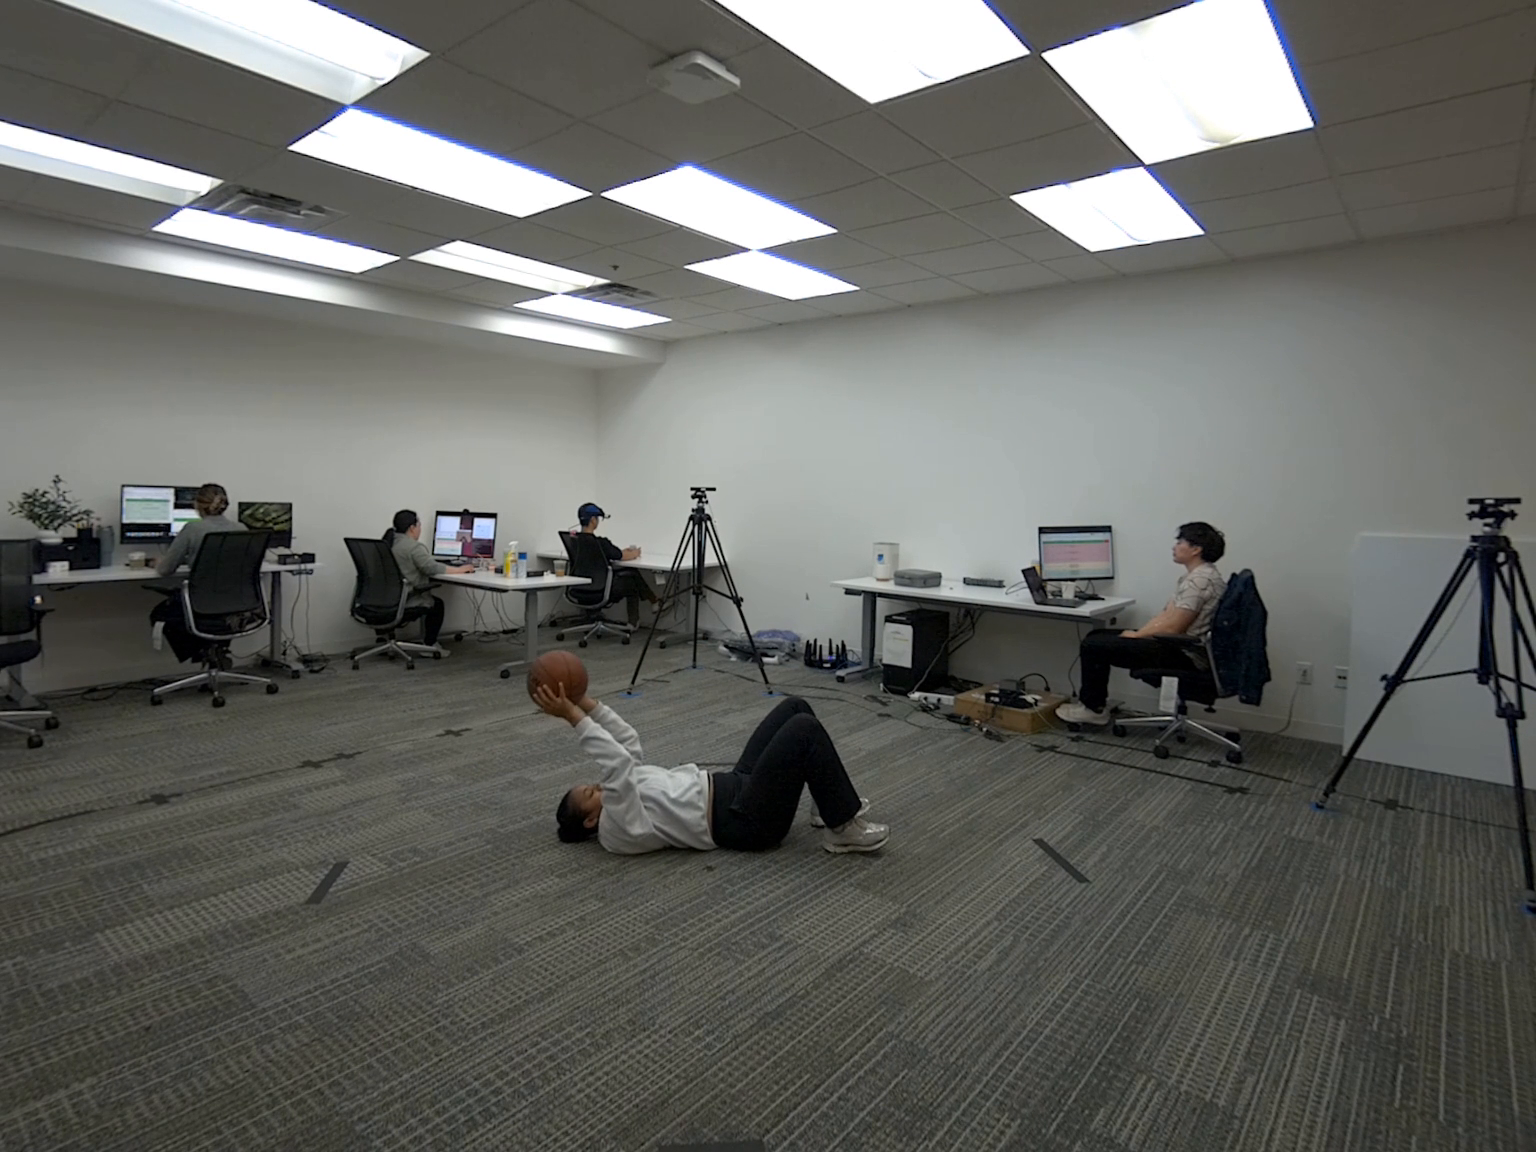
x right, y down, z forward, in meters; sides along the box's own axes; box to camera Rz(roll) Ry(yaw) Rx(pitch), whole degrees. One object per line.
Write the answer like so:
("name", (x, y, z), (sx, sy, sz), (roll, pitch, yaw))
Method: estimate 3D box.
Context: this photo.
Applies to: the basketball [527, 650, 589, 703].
("basketball", (-0.827, 0.418, 3.339), (0.235, 0.235, 0.237), (1, 4, -2))
